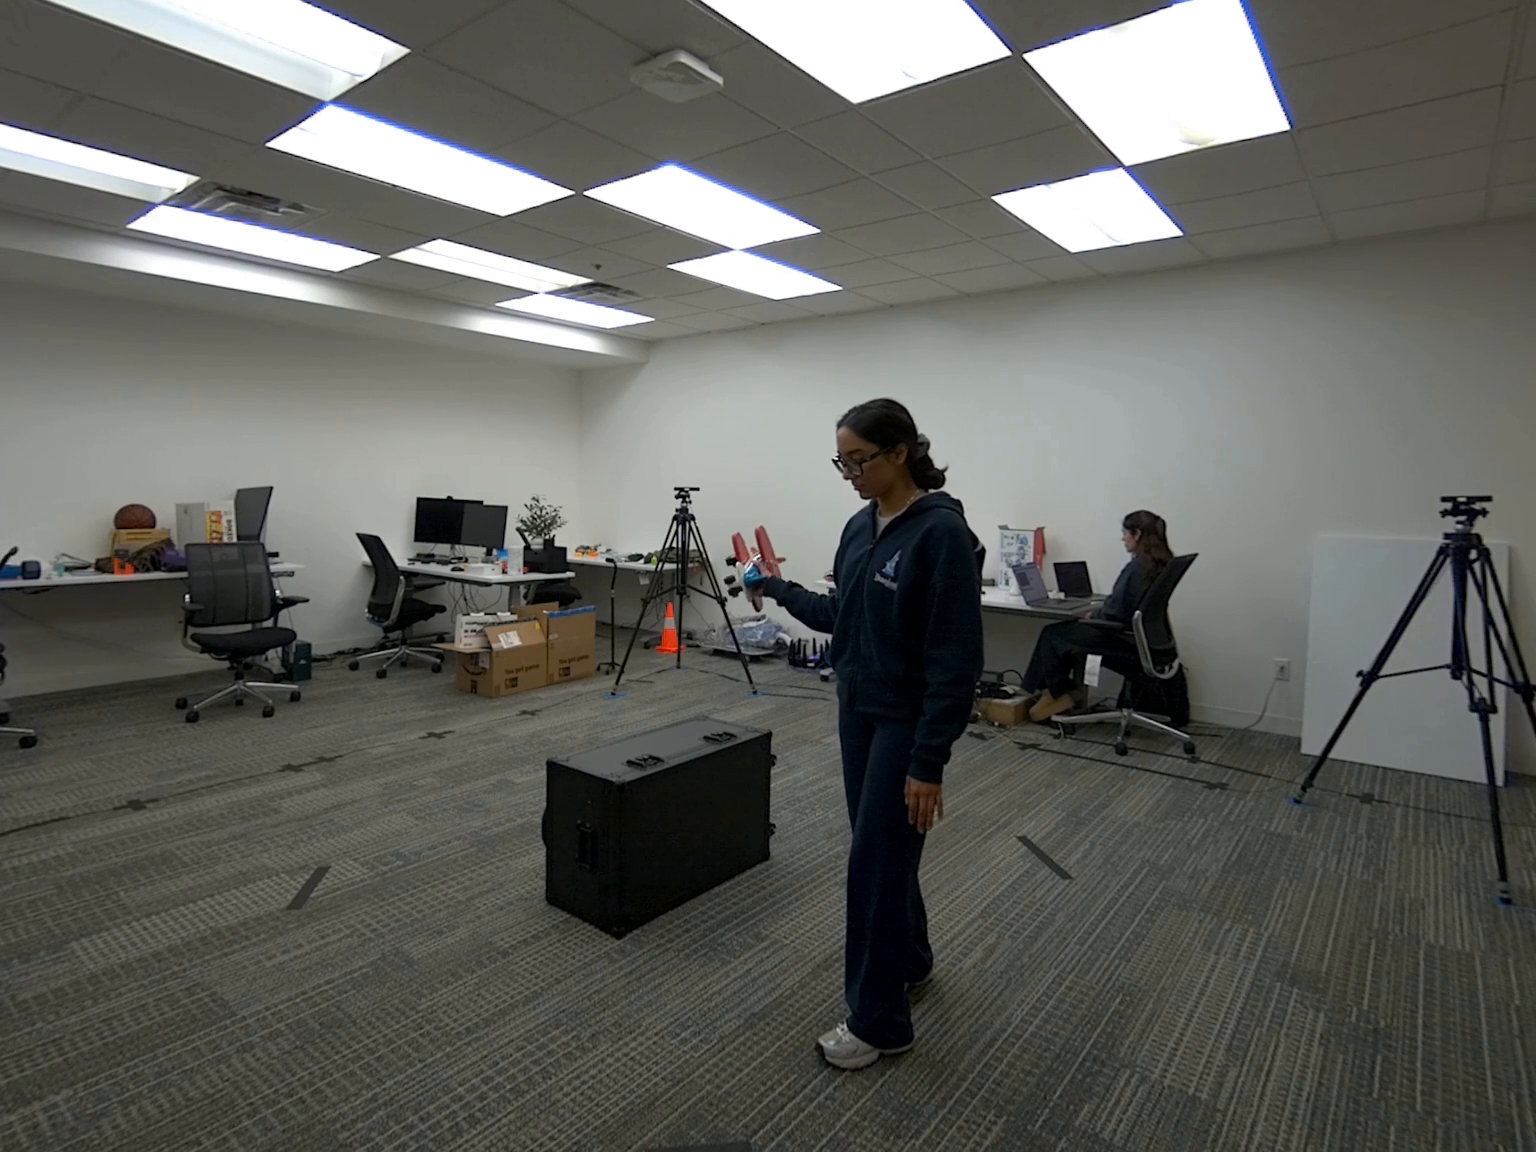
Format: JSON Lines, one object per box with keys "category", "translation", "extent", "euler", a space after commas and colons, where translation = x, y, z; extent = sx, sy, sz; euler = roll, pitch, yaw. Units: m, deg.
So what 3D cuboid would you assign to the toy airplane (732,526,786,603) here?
{"category": "toy airplane", "translation": [-0.047, 0.011, 2.562], "extent": [0.157, 0.242, 0.267], "euler": [-18, 36, 6]}
